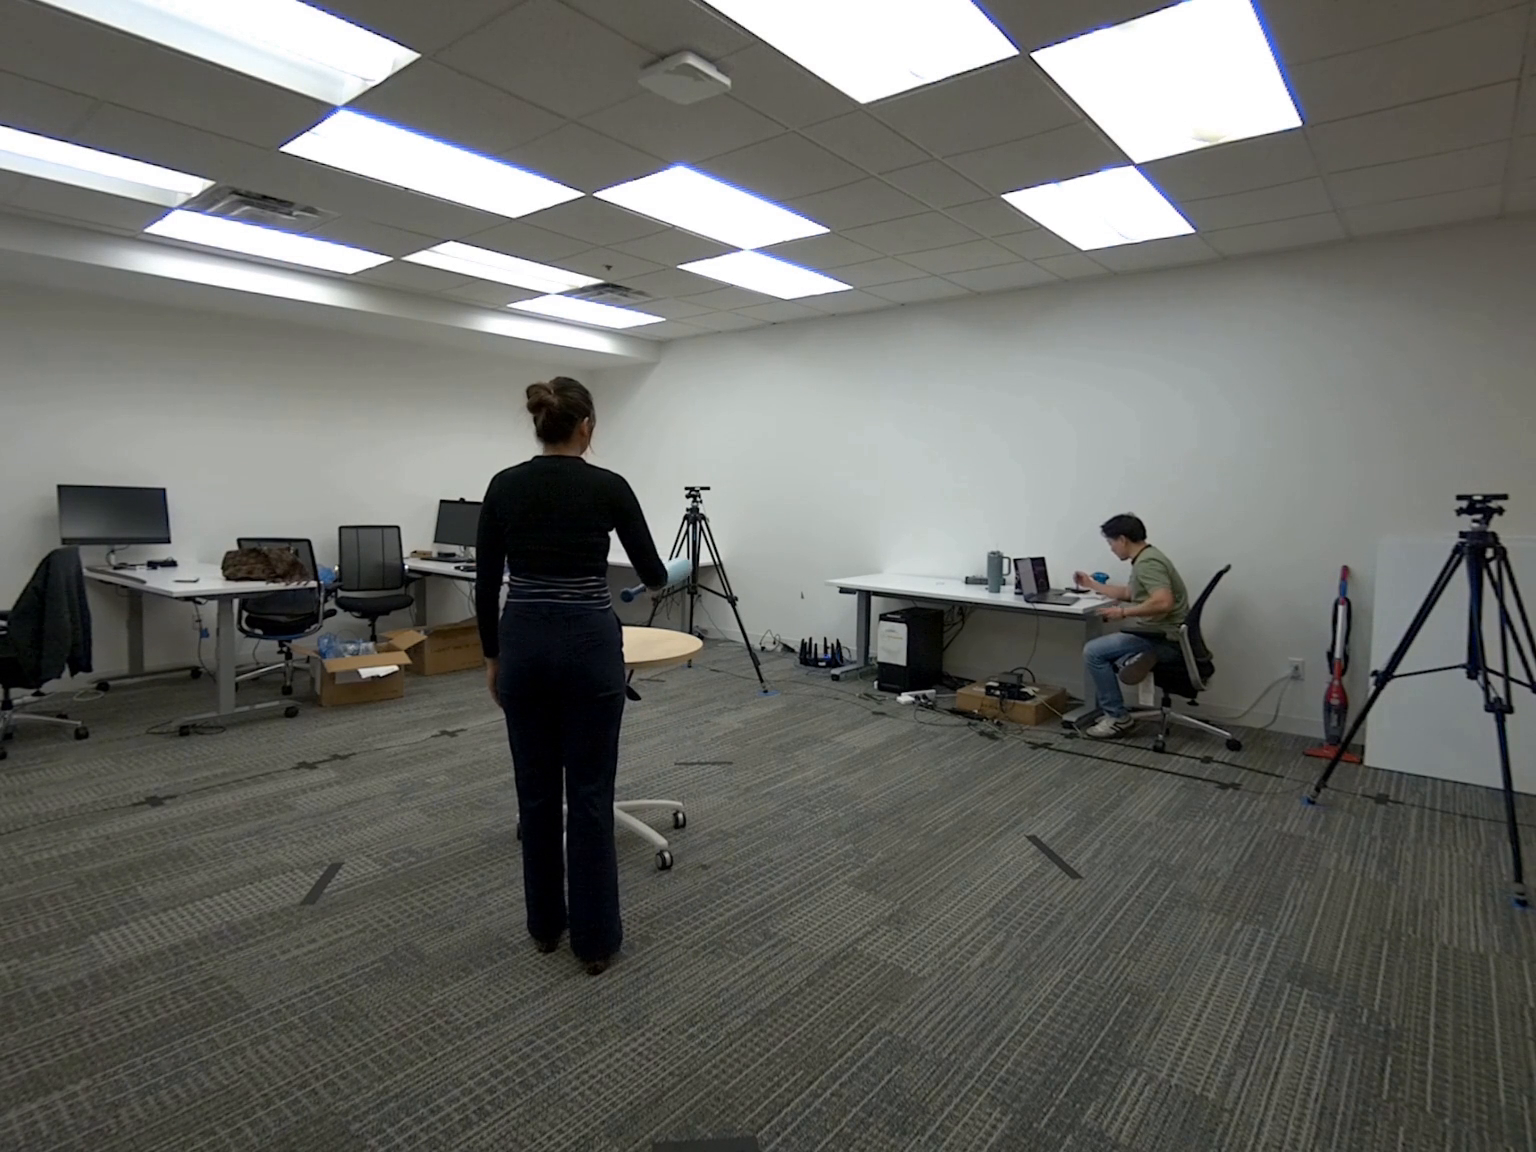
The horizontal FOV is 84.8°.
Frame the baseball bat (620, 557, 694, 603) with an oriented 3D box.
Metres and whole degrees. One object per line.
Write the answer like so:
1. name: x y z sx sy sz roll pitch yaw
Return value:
1. baseball bat: -0.413 0.012 3.084 0.091 0.088 0.537 2 12 17
